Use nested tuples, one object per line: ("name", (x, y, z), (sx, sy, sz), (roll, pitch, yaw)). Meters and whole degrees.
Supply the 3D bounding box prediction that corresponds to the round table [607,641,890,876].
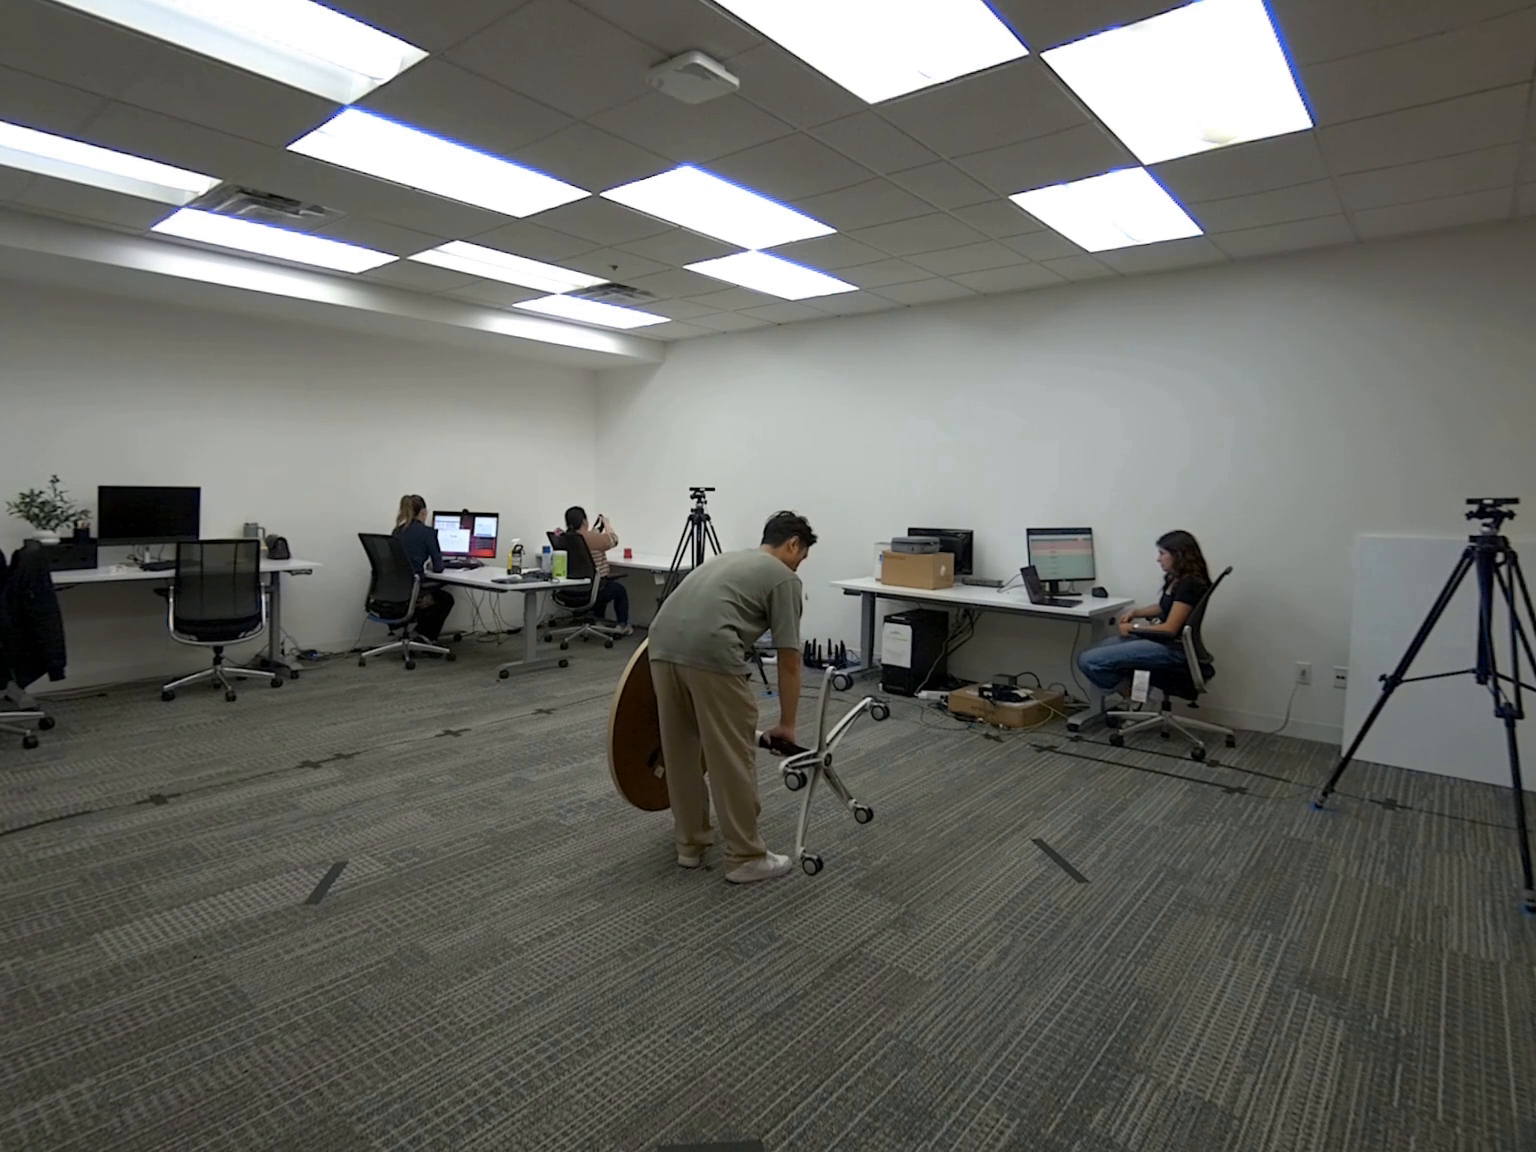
("round table", (-0.055, 0.611, 3.206), (0.812, 0.781, 0.764), (9, 8, 32))
